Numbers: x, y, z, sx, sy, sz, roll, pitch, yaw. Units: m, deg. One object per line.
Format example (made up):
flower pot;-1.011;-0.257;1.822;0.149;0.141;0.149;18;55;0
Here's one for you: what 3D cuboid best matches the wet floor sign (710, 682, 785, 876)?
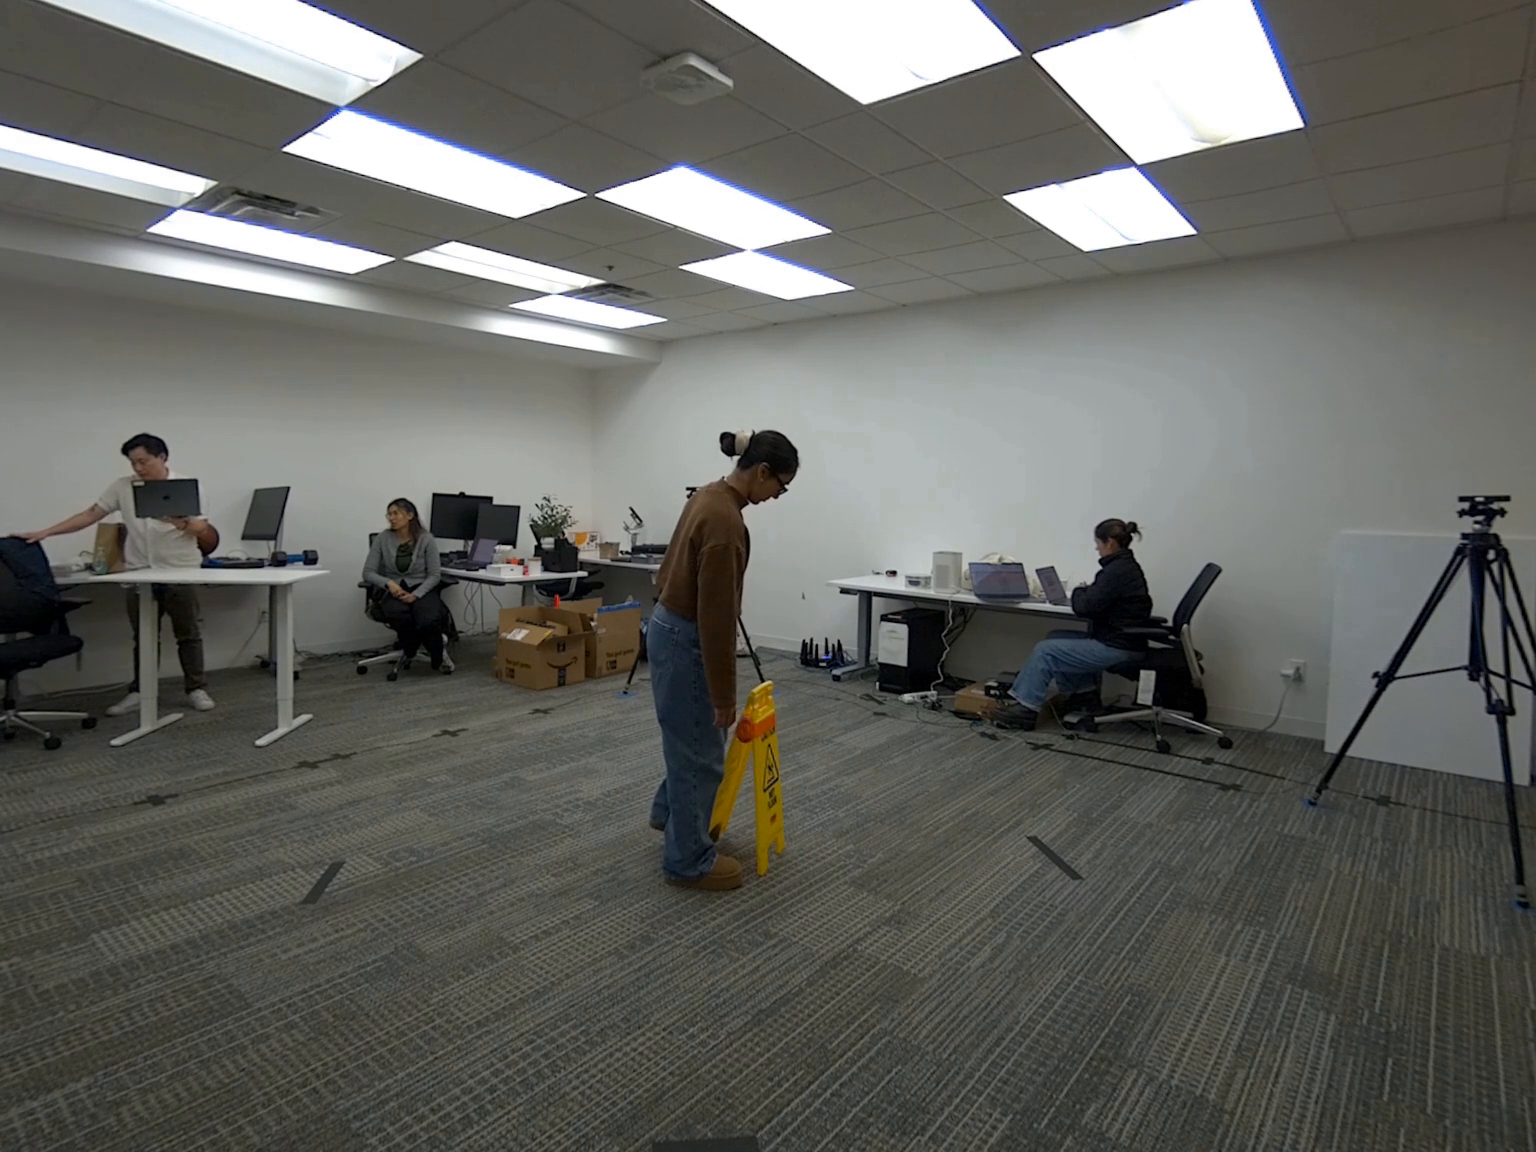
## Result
wet floor sign;-0.070;0.725;3.196;0.296;0.642;0.278;9;7;18
